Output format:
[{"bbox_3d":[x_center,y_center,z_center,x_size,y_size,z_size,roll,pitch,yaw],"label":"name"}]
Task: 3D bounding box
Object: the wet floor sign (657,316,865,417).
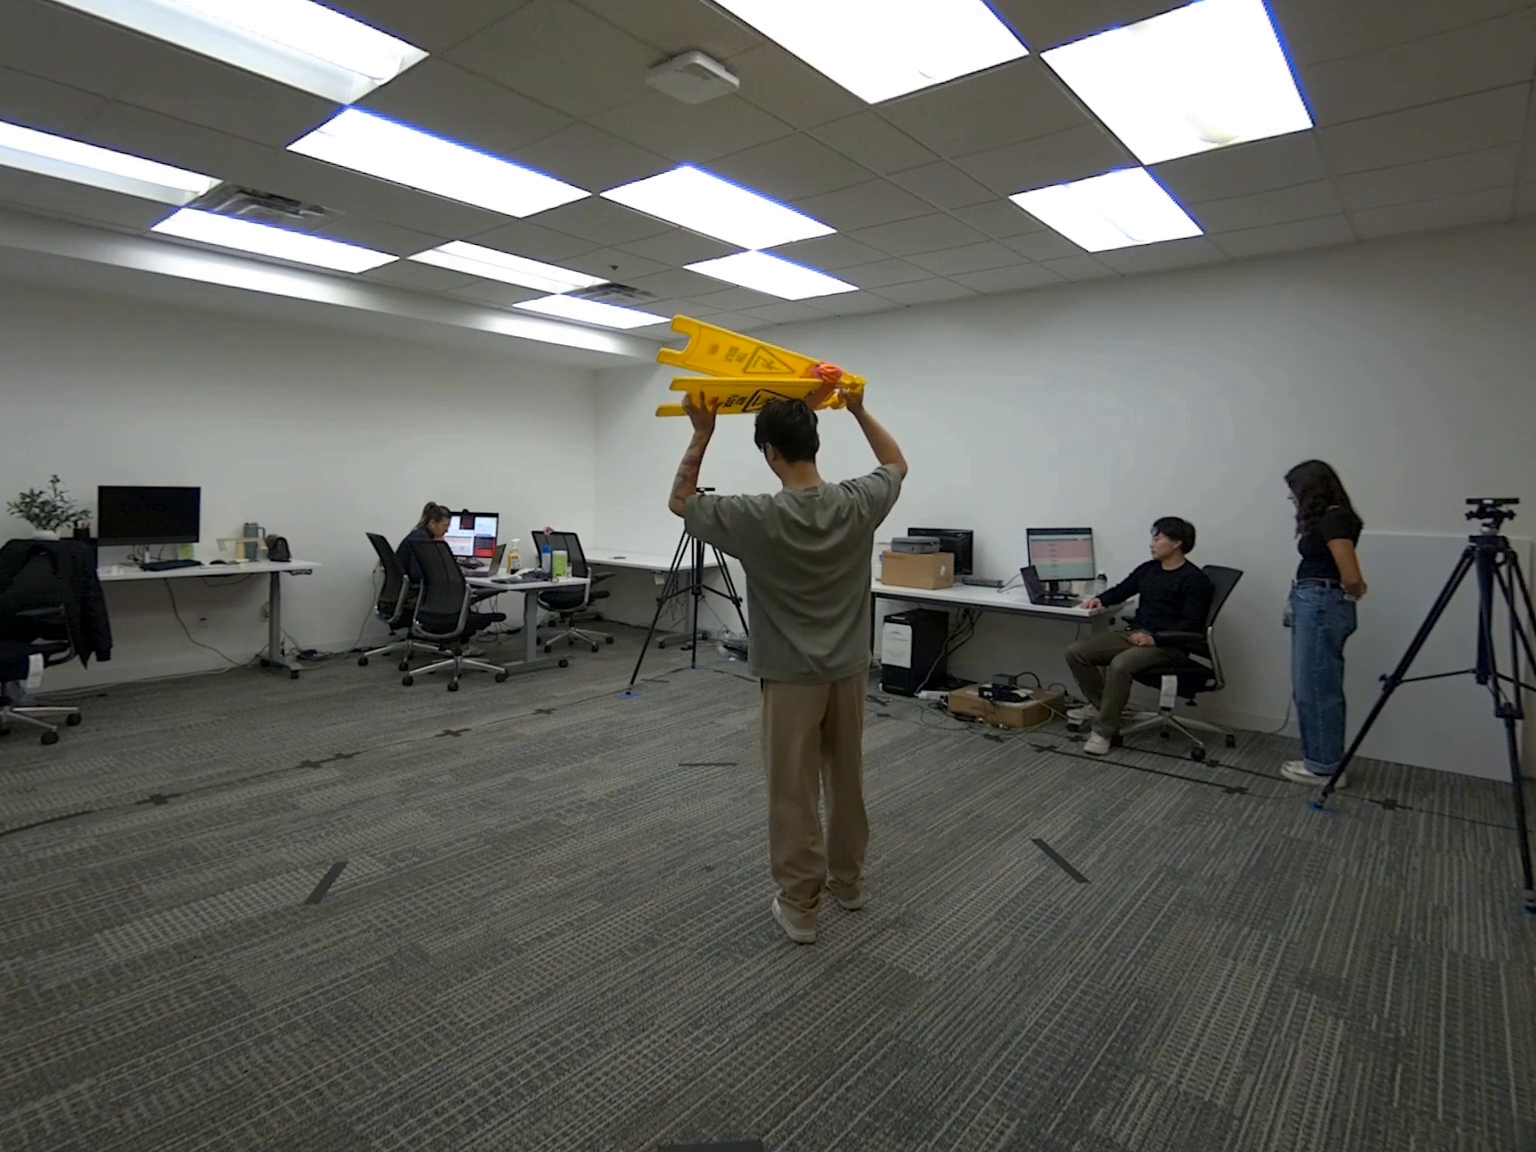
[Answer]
[{"bbox_3d":[-0.025,-0.628,2.757,0.634,0.294,0.283,3,-17,-17],"label":"wet floor sign"}]
